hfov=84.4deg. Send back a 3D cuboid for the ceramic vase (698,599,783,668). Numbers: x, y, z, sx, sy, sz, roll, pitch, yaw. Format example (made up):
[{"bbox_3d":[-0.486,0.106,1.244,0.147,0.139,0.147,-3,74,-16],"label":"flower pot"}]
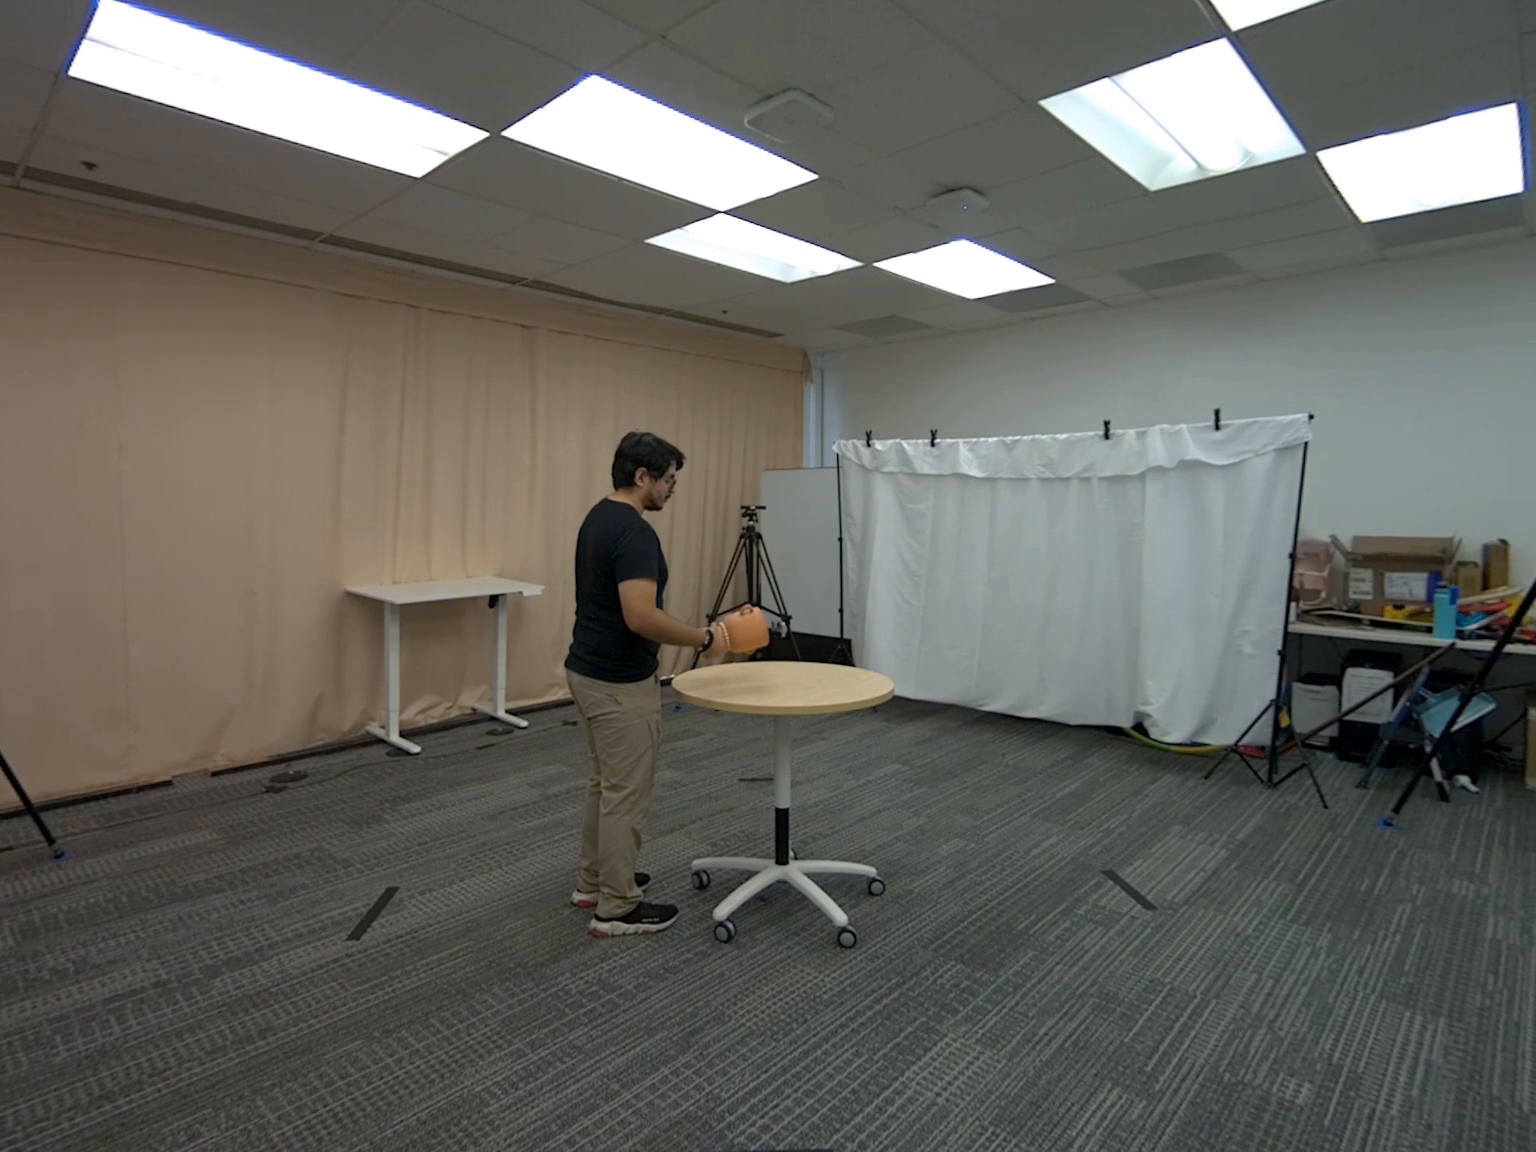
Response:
[{"bbox_3d":[-0.094,0.189,2.810,0.217,0.160,0.135,-15,-7,-14],"label":"ceramic vase"}]
